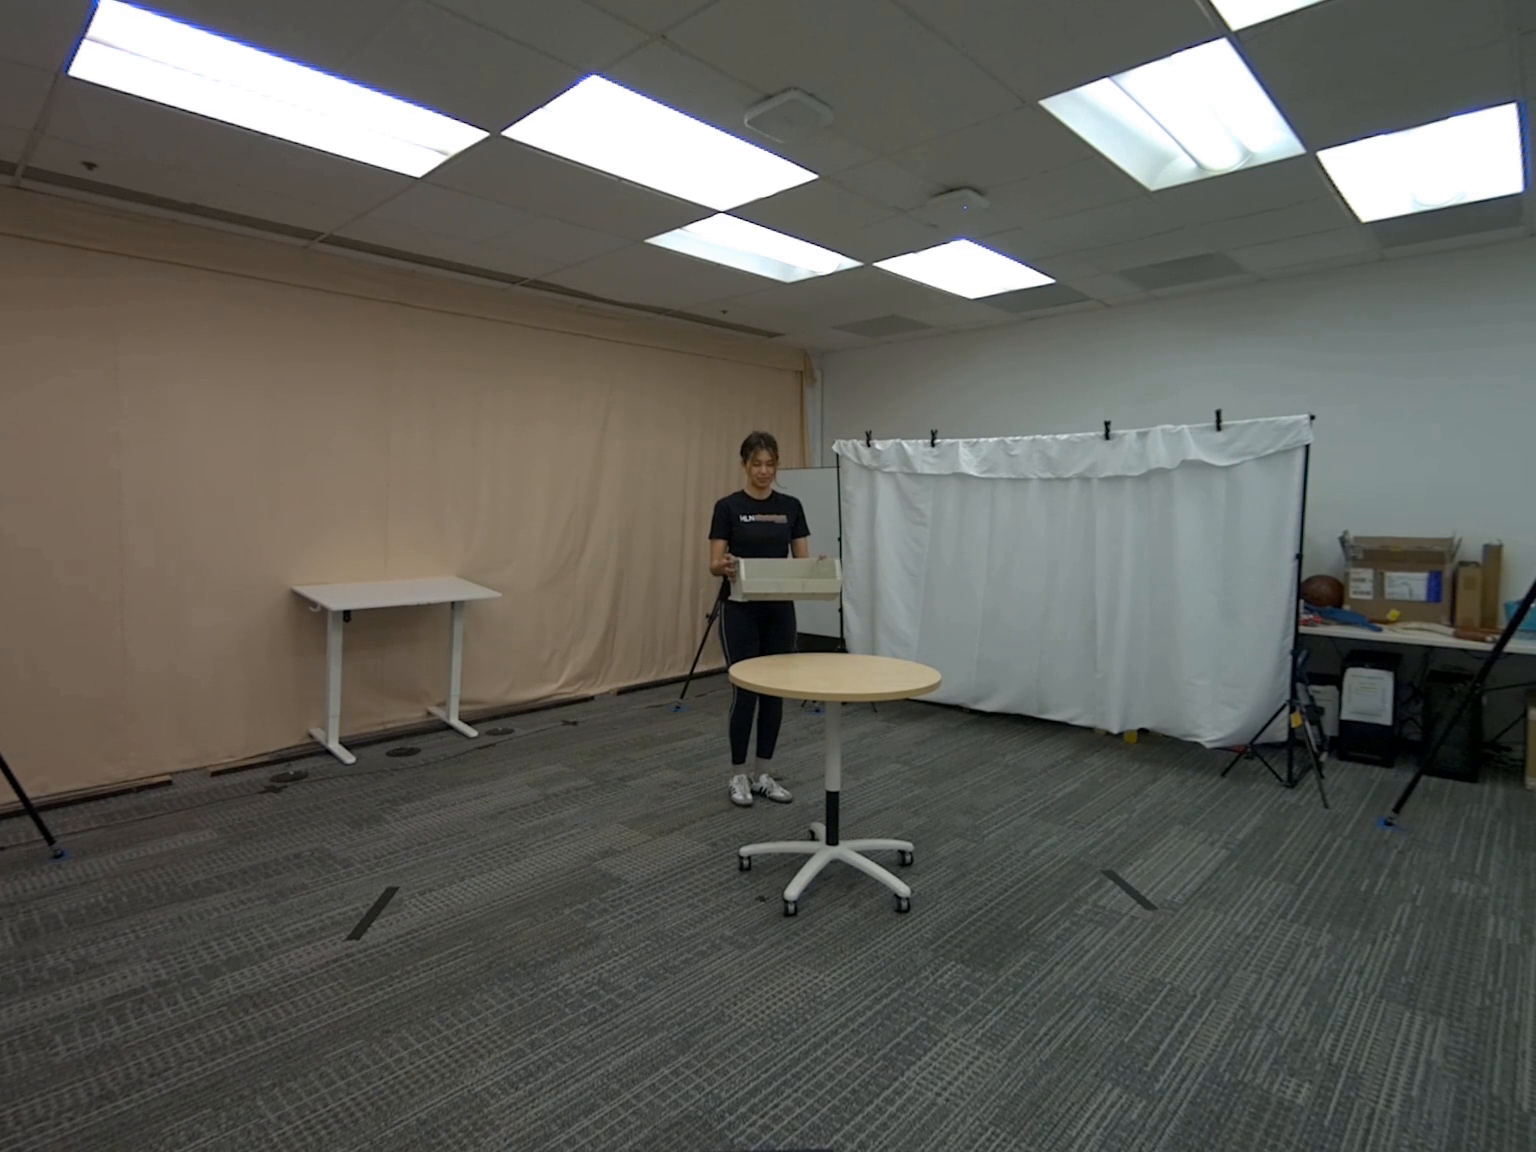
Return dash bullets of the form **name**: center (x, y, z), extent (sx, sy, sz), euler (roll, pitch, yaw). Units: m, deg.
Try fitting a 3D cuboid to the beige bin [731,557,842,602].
- **beige bin**: center (0.065, 0.016, 3.575), extent (0.417, 0.189, 0.381), euler (0, -1, -11)
